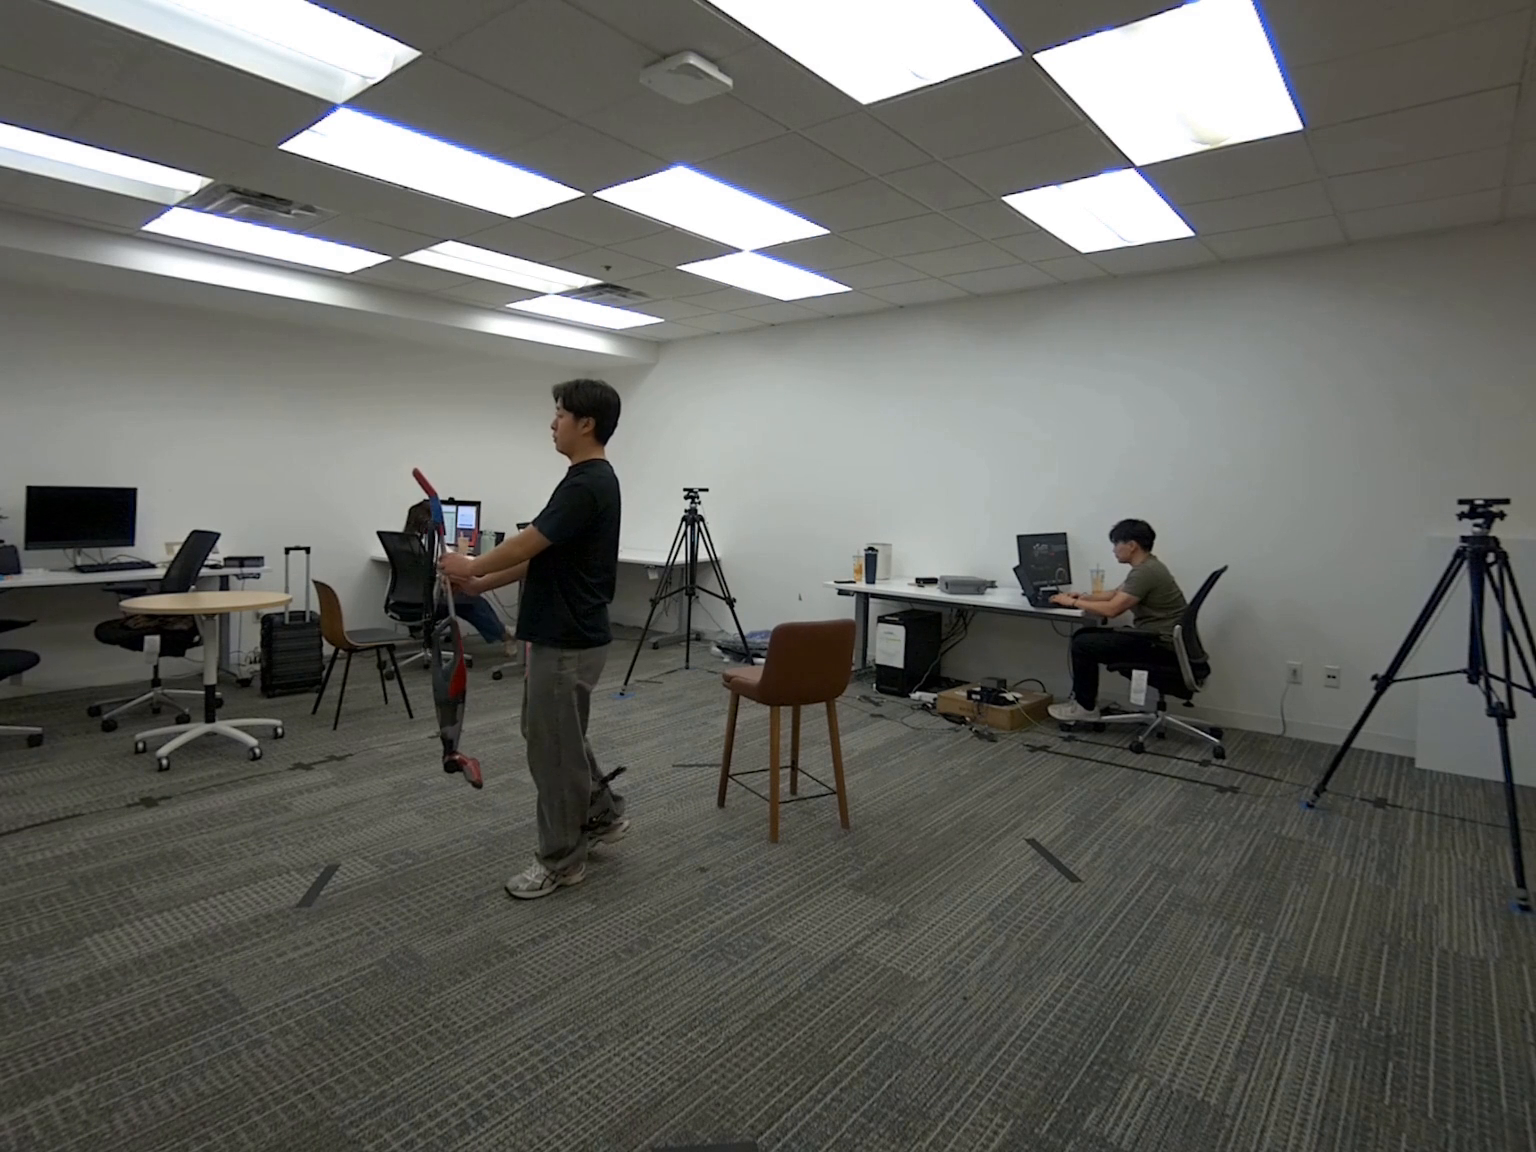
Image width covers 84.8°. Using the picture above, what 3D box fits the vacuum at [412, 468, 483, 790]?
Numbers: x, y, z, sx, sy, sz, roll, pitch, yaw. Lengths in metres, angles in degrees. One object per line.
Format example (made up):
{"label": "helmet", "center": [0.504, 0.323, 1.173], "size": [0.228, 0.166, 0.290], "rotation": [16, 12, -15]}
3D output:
{"label": "vacuum", "center": [-1.147, 0.163, 2.924], "size": [0.141, 1.040, 0.259], "rotation": [-11, 8, -24]}
